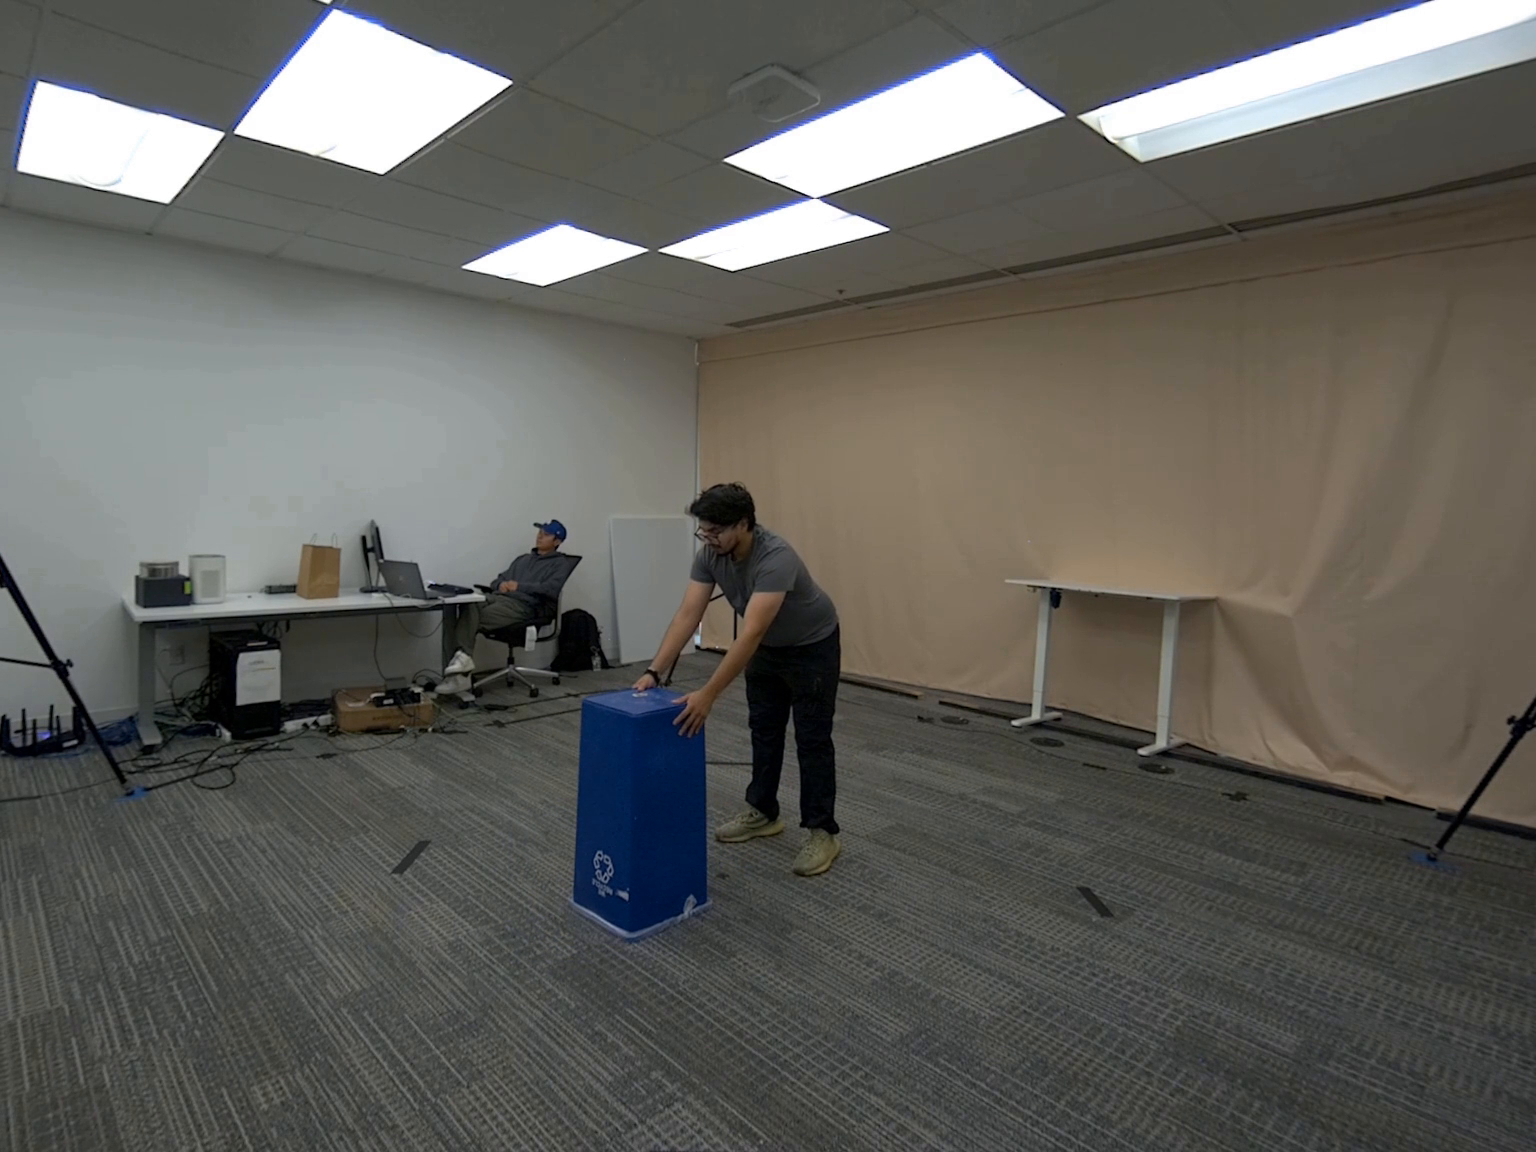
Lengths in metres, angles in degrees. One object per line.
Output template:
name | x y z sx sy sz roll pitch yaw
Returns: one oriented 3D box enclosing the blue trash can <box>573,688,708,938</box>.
blue trash can | -0.439 0.768 2.859 0.383 0.712 0.369 3 3 45
